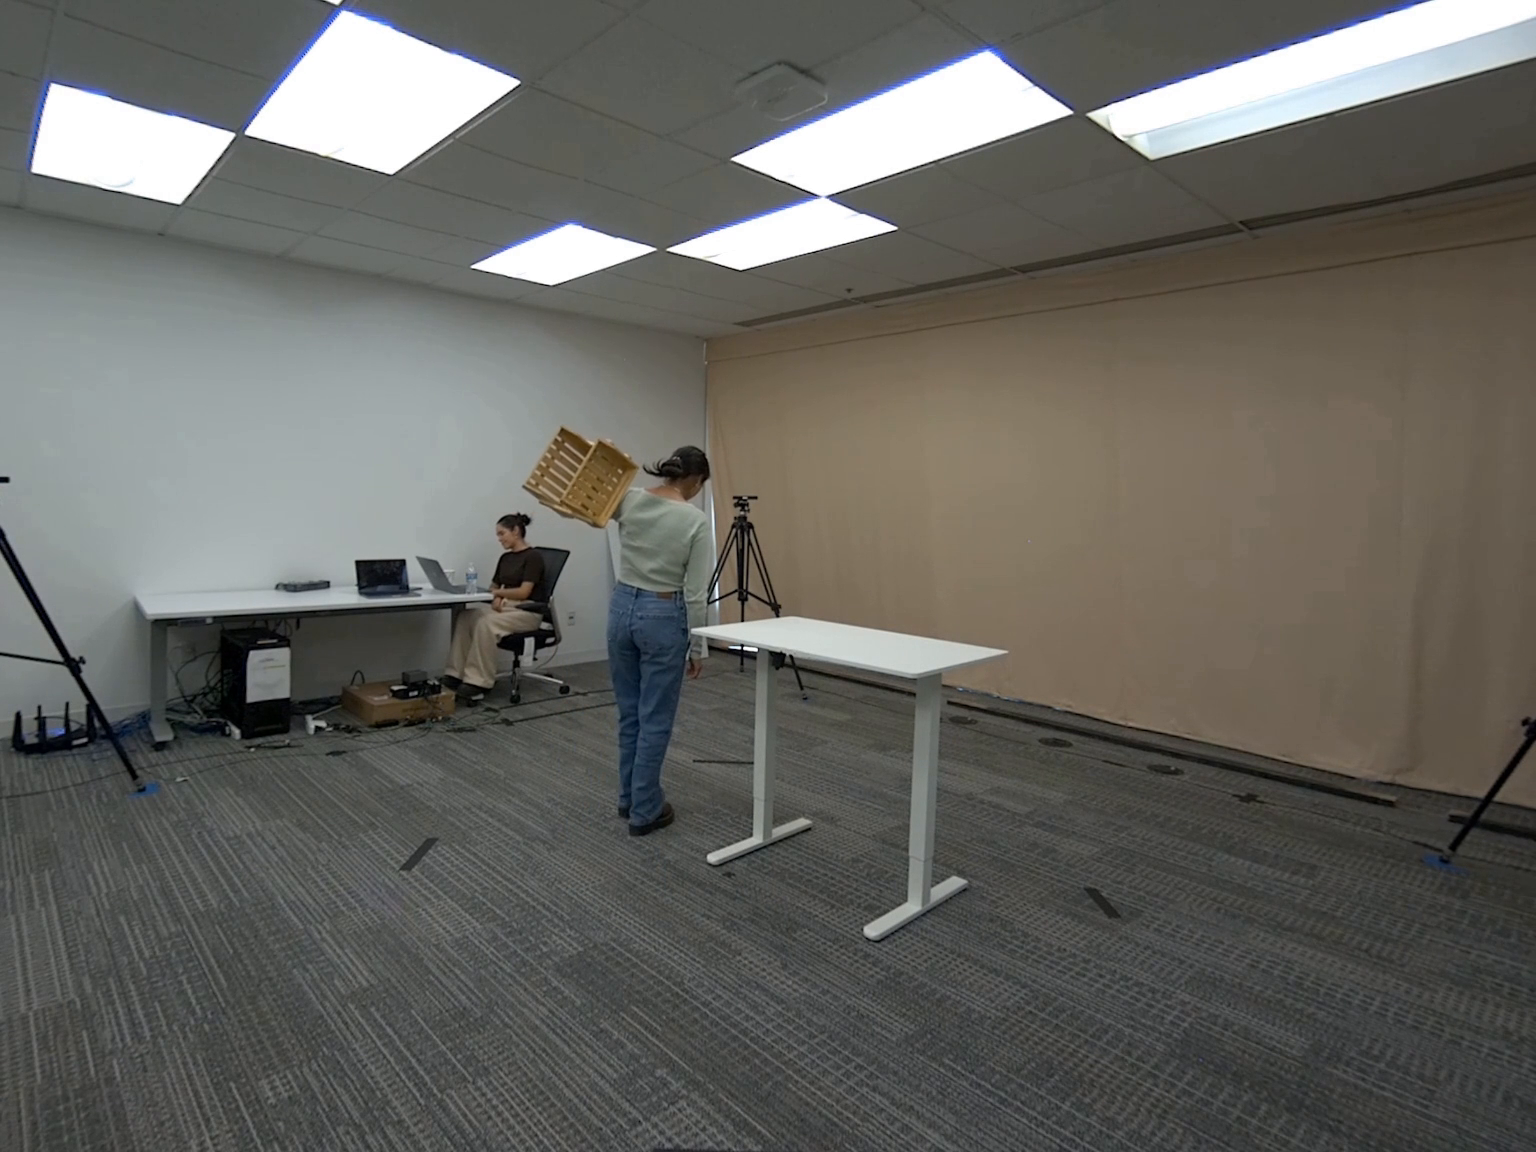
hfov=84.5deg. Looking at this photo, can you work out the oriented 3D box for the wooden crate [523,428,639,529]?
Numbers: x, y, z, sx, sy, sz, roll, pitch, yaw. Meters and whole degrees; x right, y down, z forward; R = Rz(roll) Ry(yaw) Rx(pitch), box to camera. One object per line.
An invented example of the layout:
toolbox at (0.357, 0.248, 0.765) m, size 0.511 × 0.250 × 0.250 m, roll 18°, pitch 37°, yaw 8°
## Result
wooden crate at (-0.776, -0.411, 3.444) m, size 0.281 × 0.326 × 0.292 m, roll 11°, pitch -22°, yaw 48°
